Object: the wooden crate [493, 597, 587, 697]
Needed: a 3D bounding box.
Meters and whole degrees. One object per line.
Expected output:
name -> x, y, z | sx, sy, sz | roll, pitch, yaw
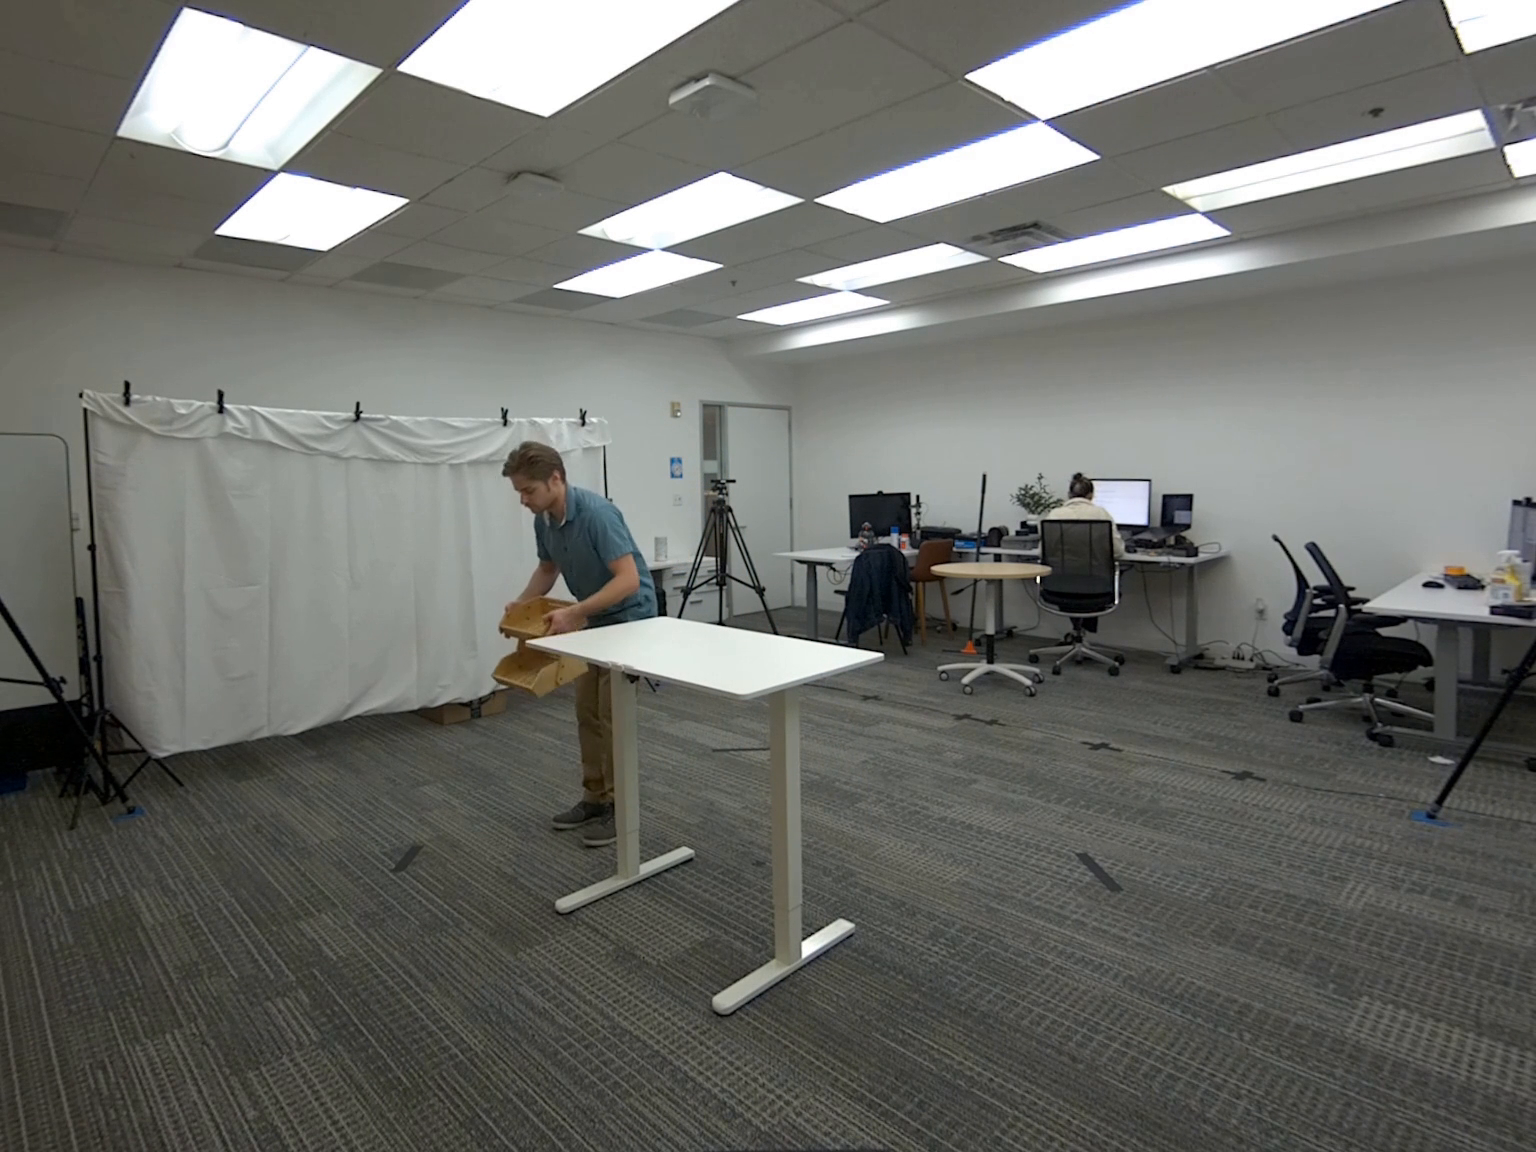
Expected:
wooden crate -> -0.888, 0.267, 3.289 | 0.334, 0.269, 0.298 | 4, 23, 45
